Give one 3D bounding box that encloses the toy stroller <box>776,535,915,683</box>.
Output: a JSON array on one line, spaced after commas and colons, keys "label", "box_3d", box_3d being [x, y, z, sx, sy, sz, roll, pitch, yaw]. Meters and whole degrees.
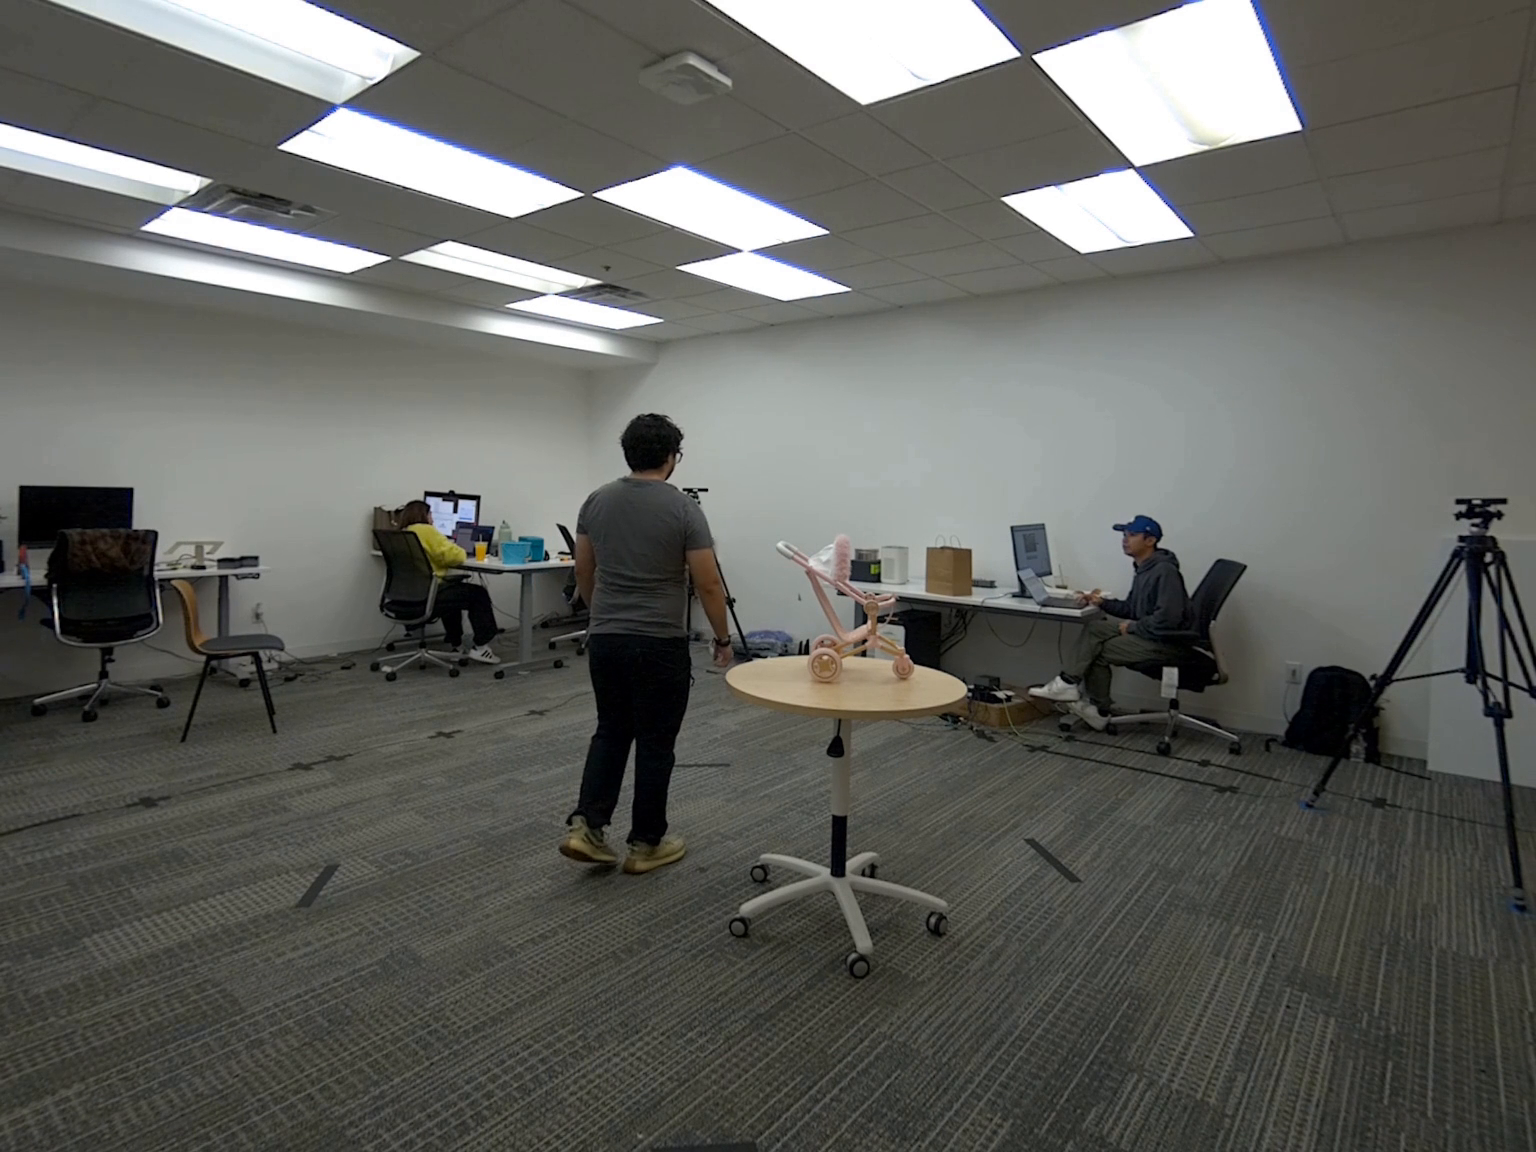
[{"label": "toy stroller", "box_3d": [0.255, 0.104, 2.790, 0.345, 0.535, 0.278, -14, 0, 12]}]
